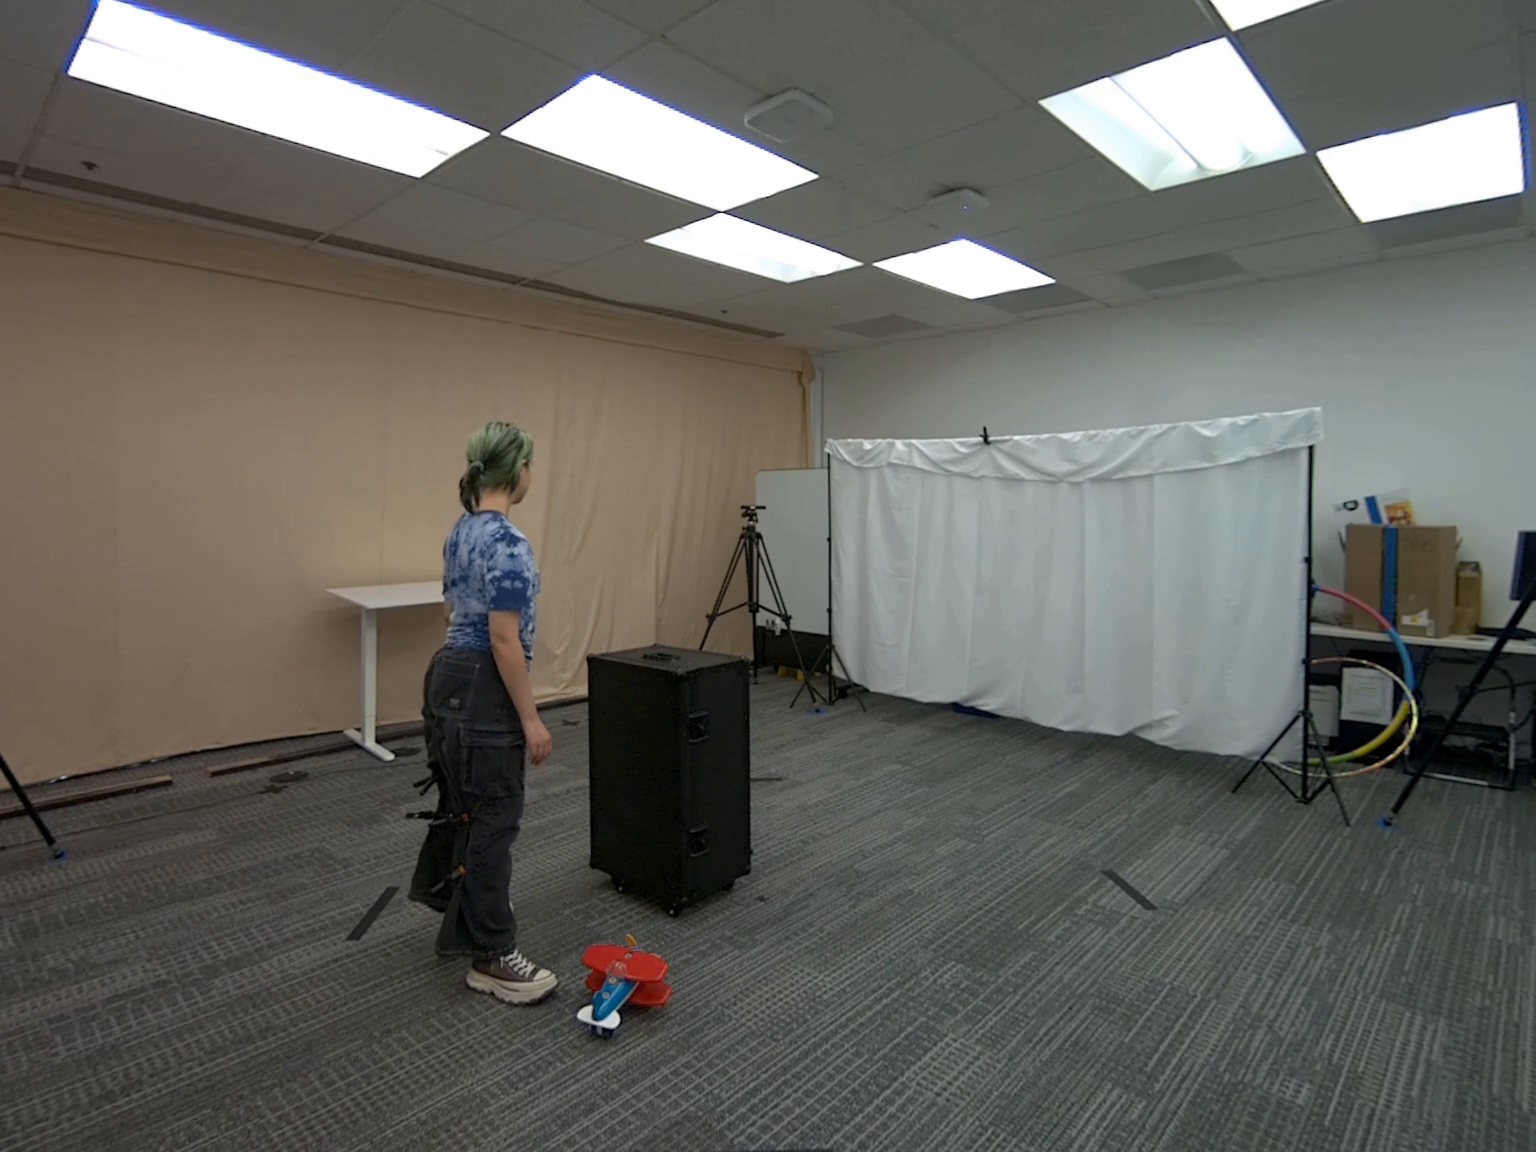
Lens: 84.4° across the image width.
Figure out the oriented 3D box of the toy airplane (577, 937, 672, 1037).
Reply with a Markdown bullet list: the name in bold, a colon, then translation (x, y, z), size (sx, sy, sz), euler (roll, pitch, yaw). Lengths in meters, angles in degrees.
- **toy airplane**: translation (-0.384, 1.119, 2.291), size (0.250, 0.156, 0.261), euler (-1, 4, -6)
